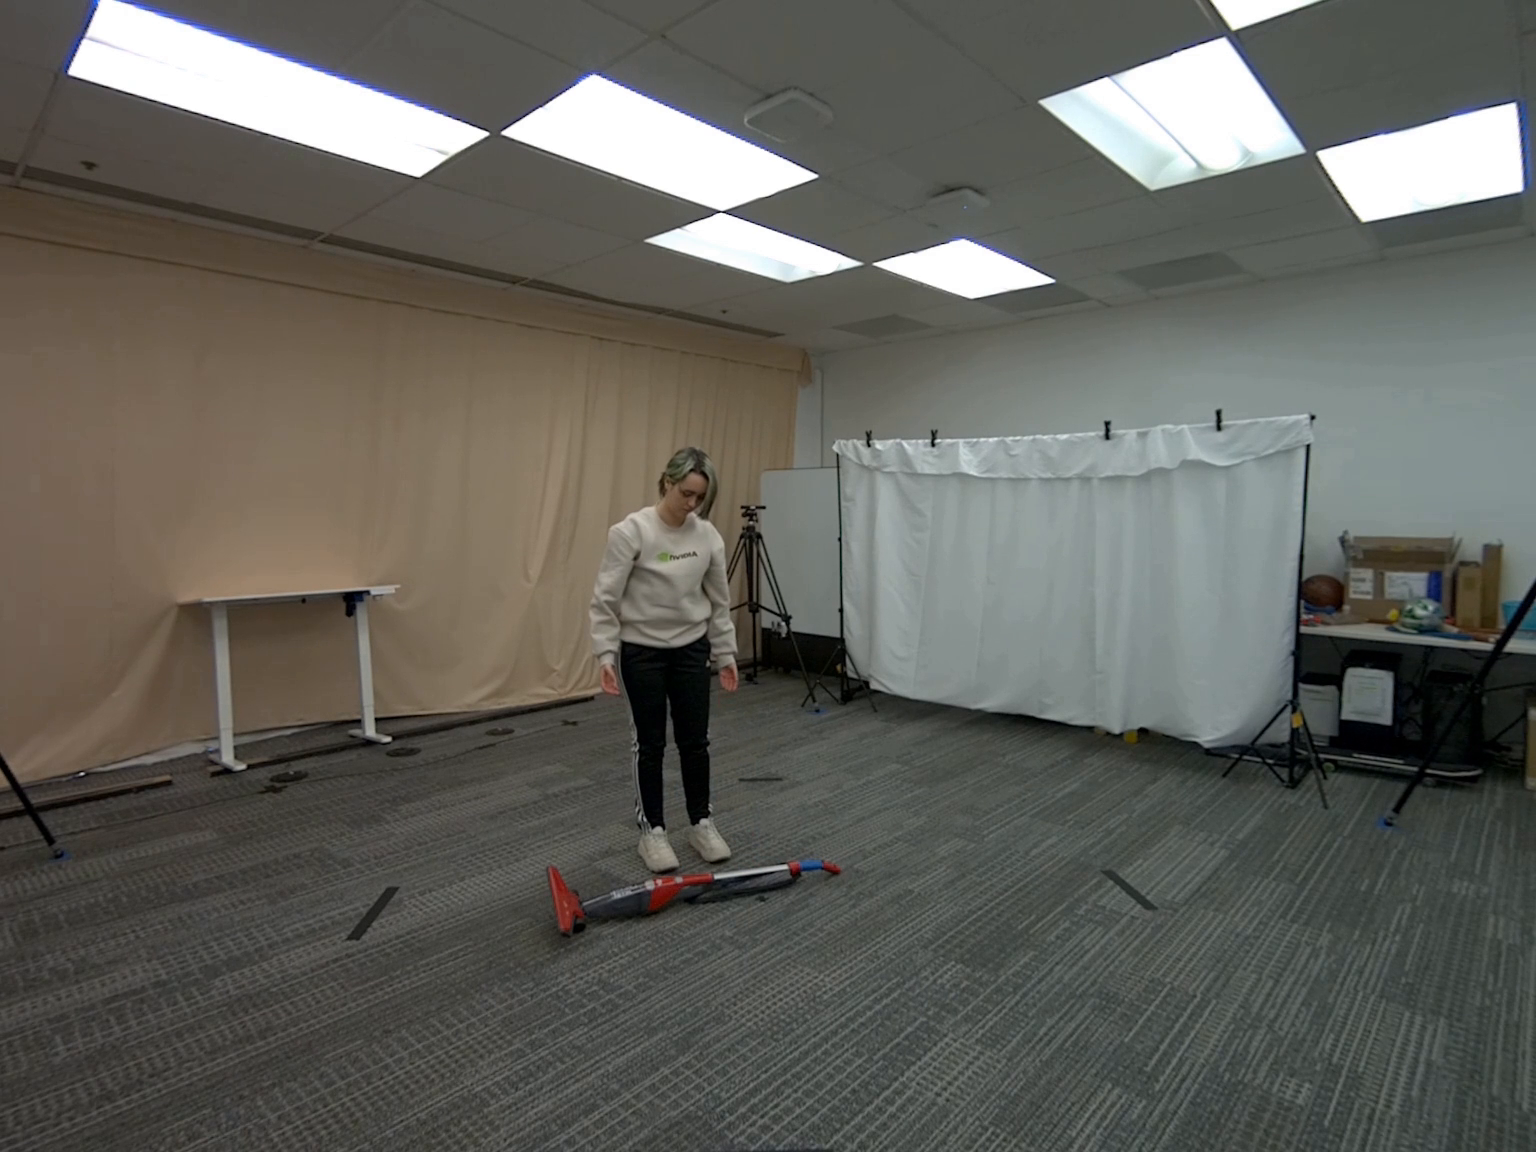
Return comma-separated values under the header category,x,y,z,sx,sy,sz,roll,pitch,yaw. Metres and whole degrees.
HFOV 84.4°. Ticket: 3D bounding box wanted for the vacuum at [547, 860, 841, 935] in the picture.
category,x,y,z,sx,sy,sz,roll,pitch,yaw
vacuum,-0.206,1.096,2.972,1.025,0.143,0.260,3,33,-23
